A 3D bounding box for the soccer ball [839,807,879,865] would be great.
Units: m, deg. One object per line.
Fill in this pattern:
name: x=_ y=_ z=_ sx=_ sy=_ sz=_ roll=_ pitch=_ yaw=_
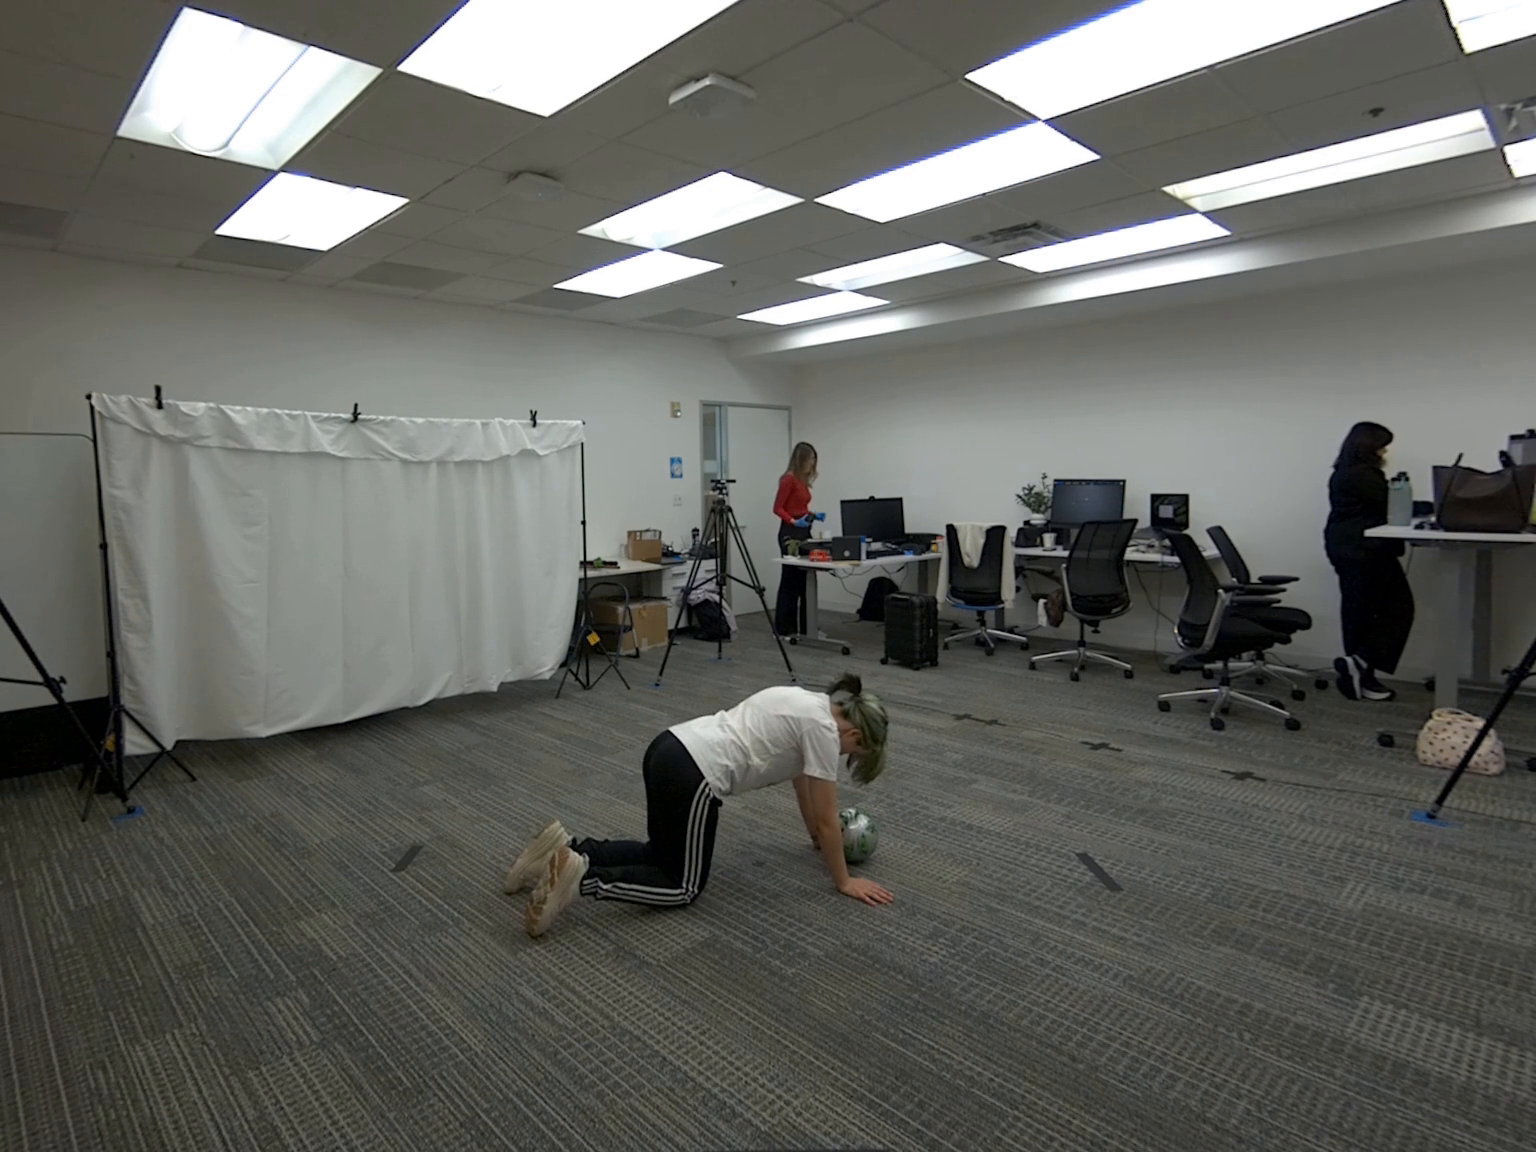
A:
soccer ball: x=0.312 y=0.943 z=3.119 sx=0.187 sy=0.187 sz=0.188 roll=-1 pitch=5 yaw=-2
